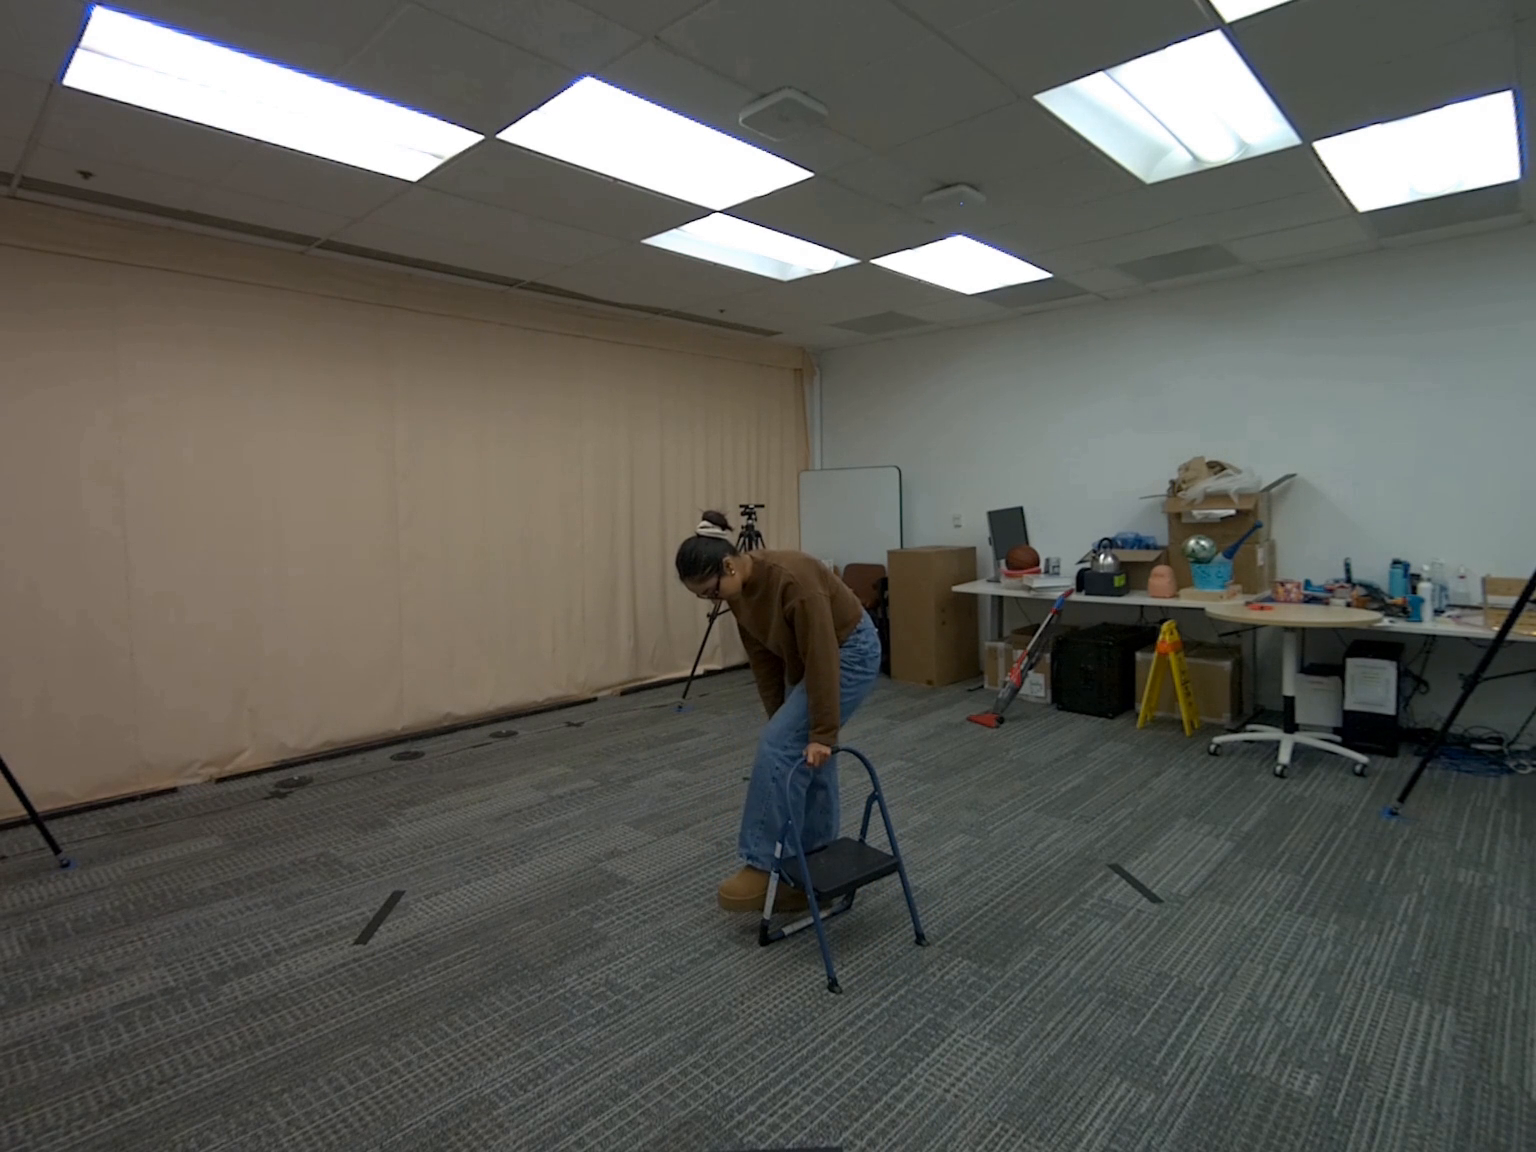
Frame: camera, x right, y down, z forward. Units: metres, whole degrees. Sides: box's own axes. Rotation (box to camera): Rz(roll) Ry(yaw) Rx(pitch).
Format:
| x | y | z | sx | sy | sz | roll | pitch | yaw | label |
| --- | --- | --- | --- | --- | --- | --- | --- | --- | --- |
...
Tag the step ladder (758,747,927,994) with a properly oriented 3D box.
| x | y | z | sx | sy | sz | roll | pitch | yaw | label |
| --- | --- | --- | --- | --- | --- | --- | --- | --- | --- |
| 0.237 | 0.860 | 2.637 | 0.418 | 0.605 | 0.360 | -4 | 4 | -40 | step ladder |
